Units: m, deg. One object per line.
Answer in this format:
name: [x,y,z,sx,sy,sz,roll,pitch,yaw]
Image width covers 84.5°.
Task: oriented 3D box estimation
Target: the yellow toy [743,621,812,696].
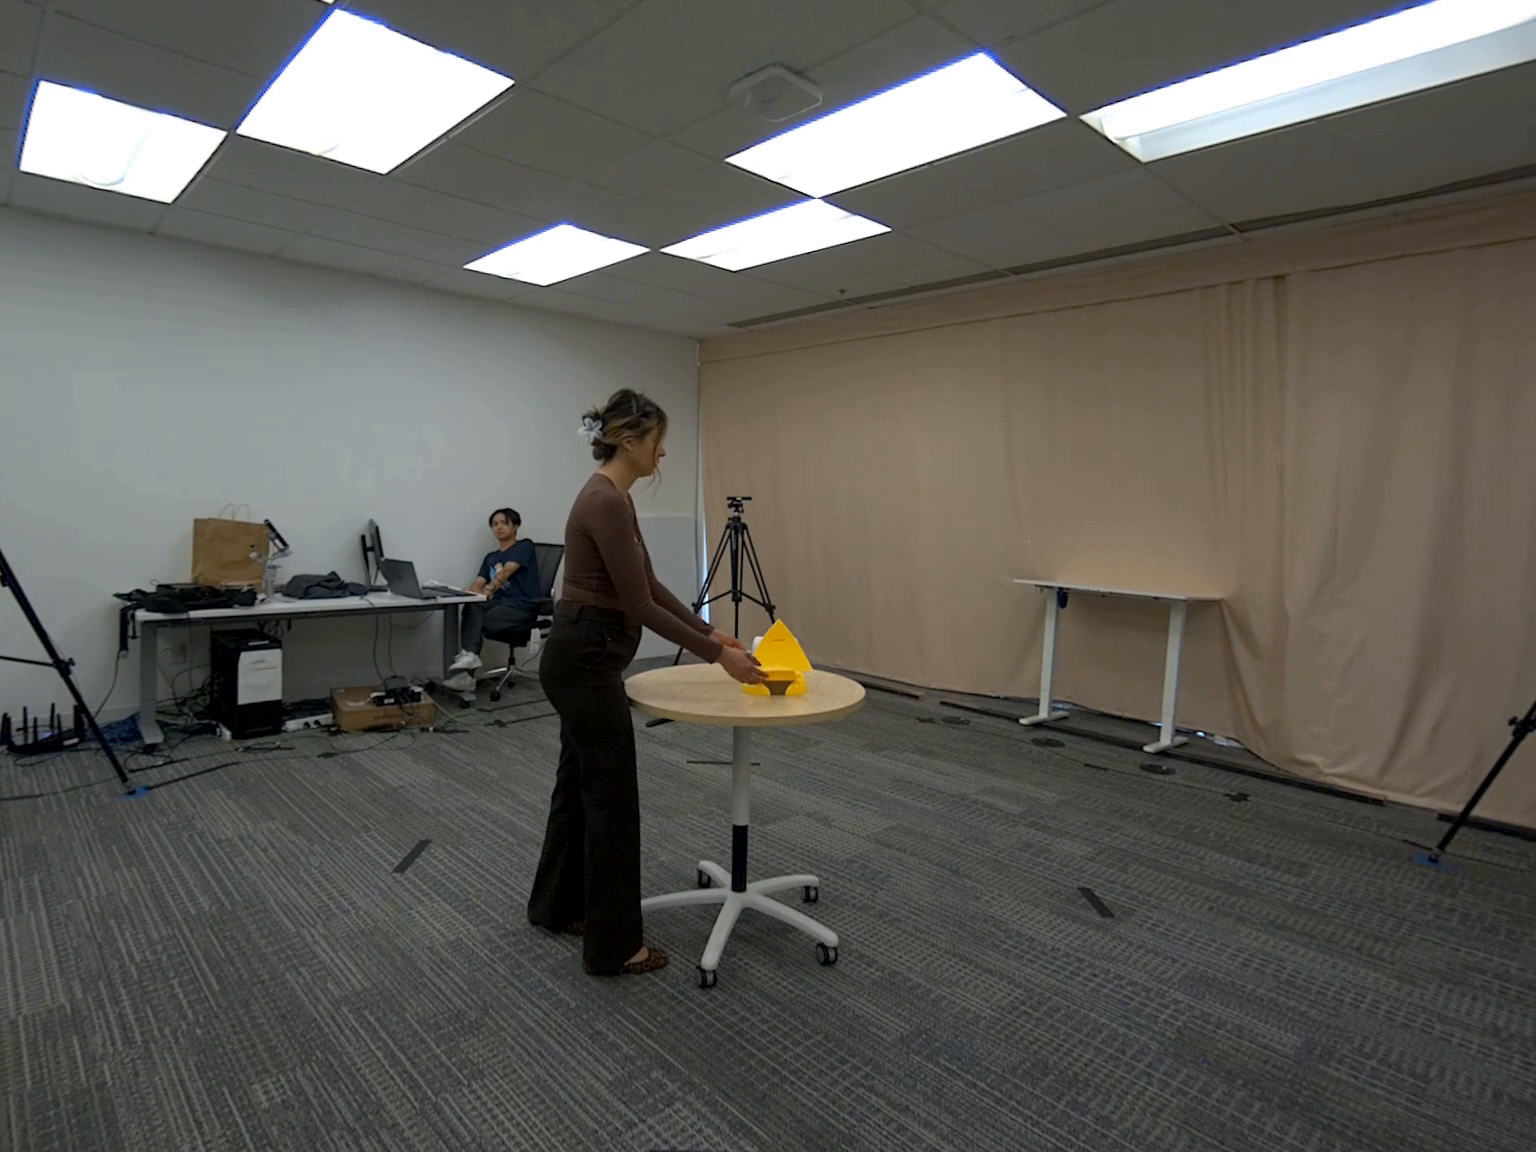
yellow toy: [0.011,0.240,2.602,0.204,0.230,0.194,1,3,-4]
